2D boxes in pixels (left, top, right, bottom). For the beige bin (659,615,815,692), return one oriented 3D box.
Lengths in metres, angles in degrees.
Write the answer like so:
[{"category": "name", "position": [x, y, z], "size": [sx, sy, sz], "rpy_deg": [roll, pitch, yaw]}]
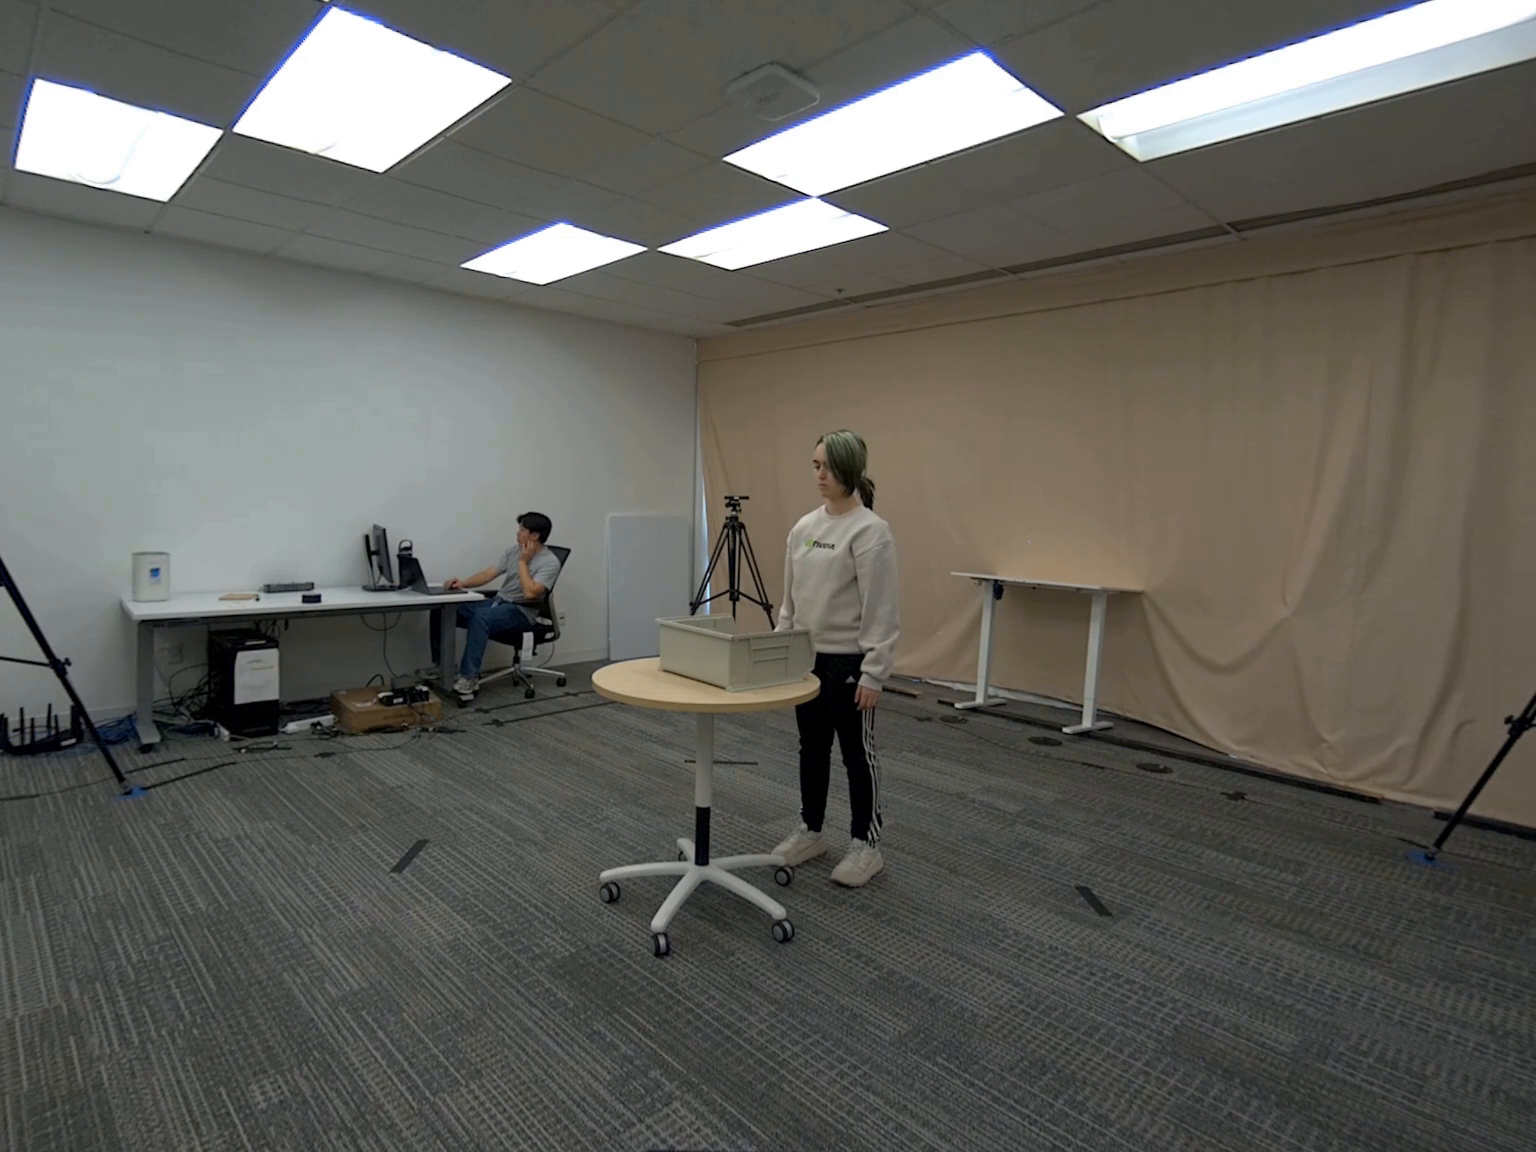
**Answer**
[{"category": "beige bin", "position": [-0.121, 0.253, 2.880], "size": [0.369, 0.188, 0.433], "rpy_deg": [-3, 7, -40]}]
